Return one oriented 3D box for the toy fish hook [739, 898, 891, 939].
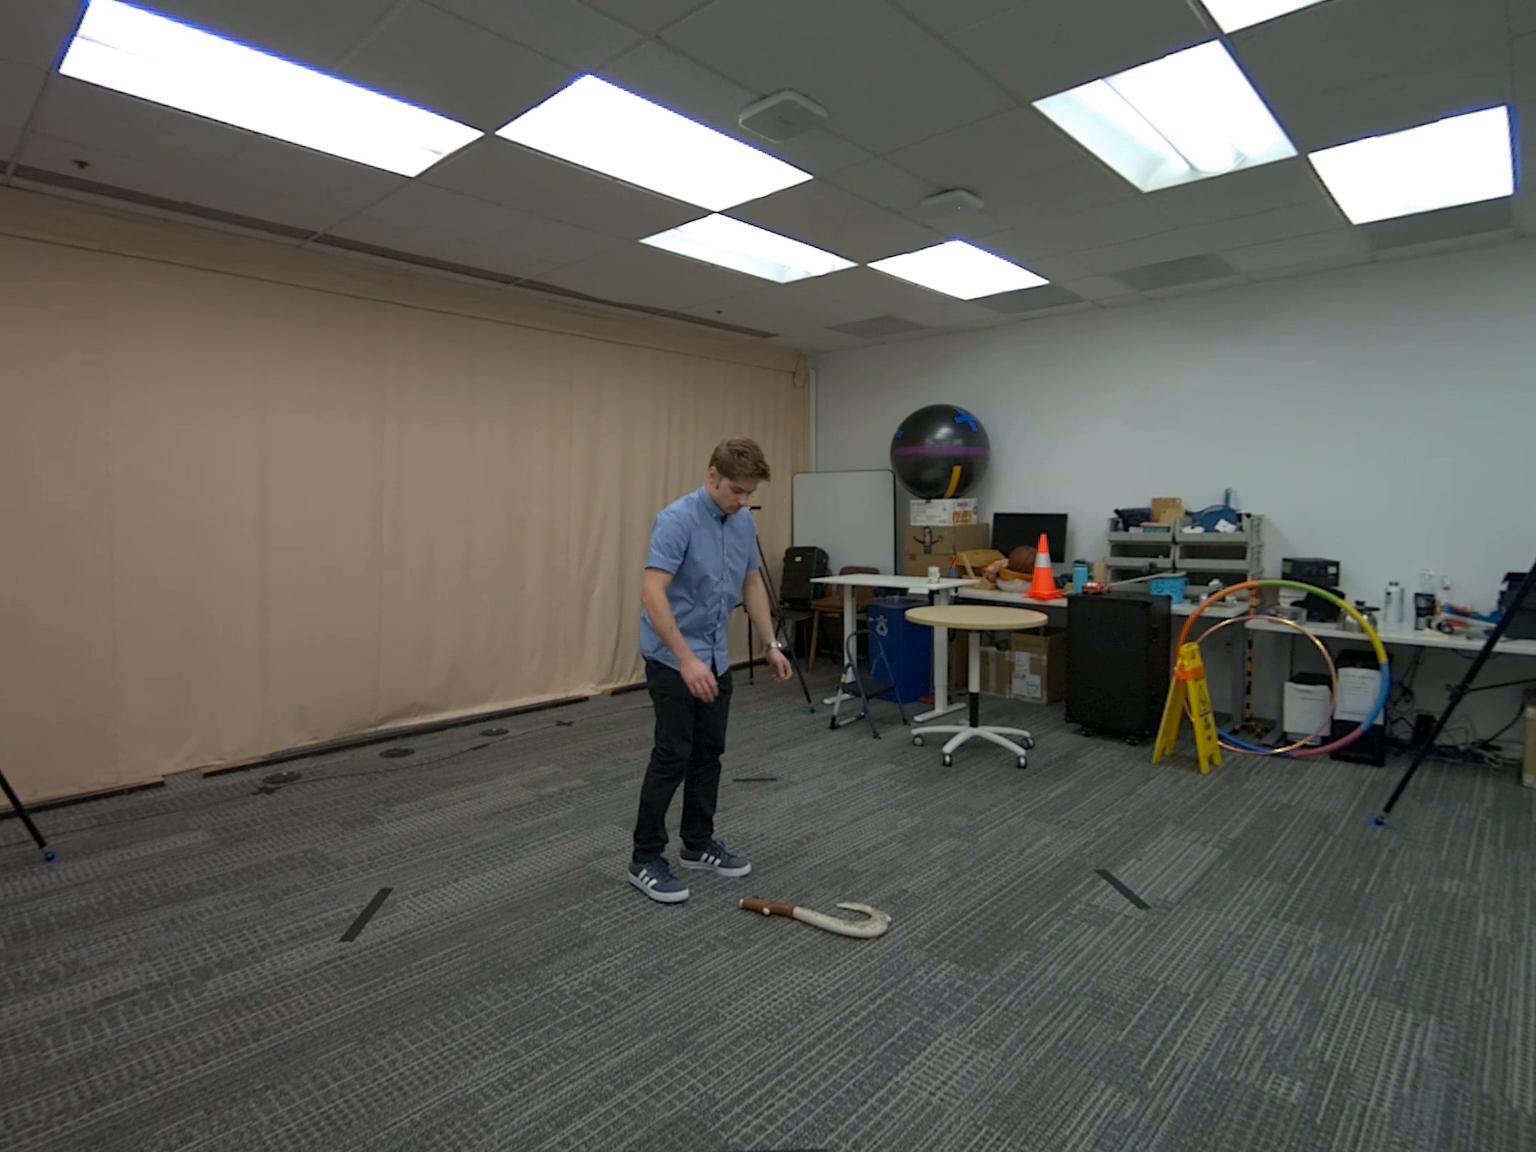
[{"bbox_3d":[0.158,1.140,2.861,0.518,0.048,0.219,3,-3,22],"label":"toy fish hook"}]
